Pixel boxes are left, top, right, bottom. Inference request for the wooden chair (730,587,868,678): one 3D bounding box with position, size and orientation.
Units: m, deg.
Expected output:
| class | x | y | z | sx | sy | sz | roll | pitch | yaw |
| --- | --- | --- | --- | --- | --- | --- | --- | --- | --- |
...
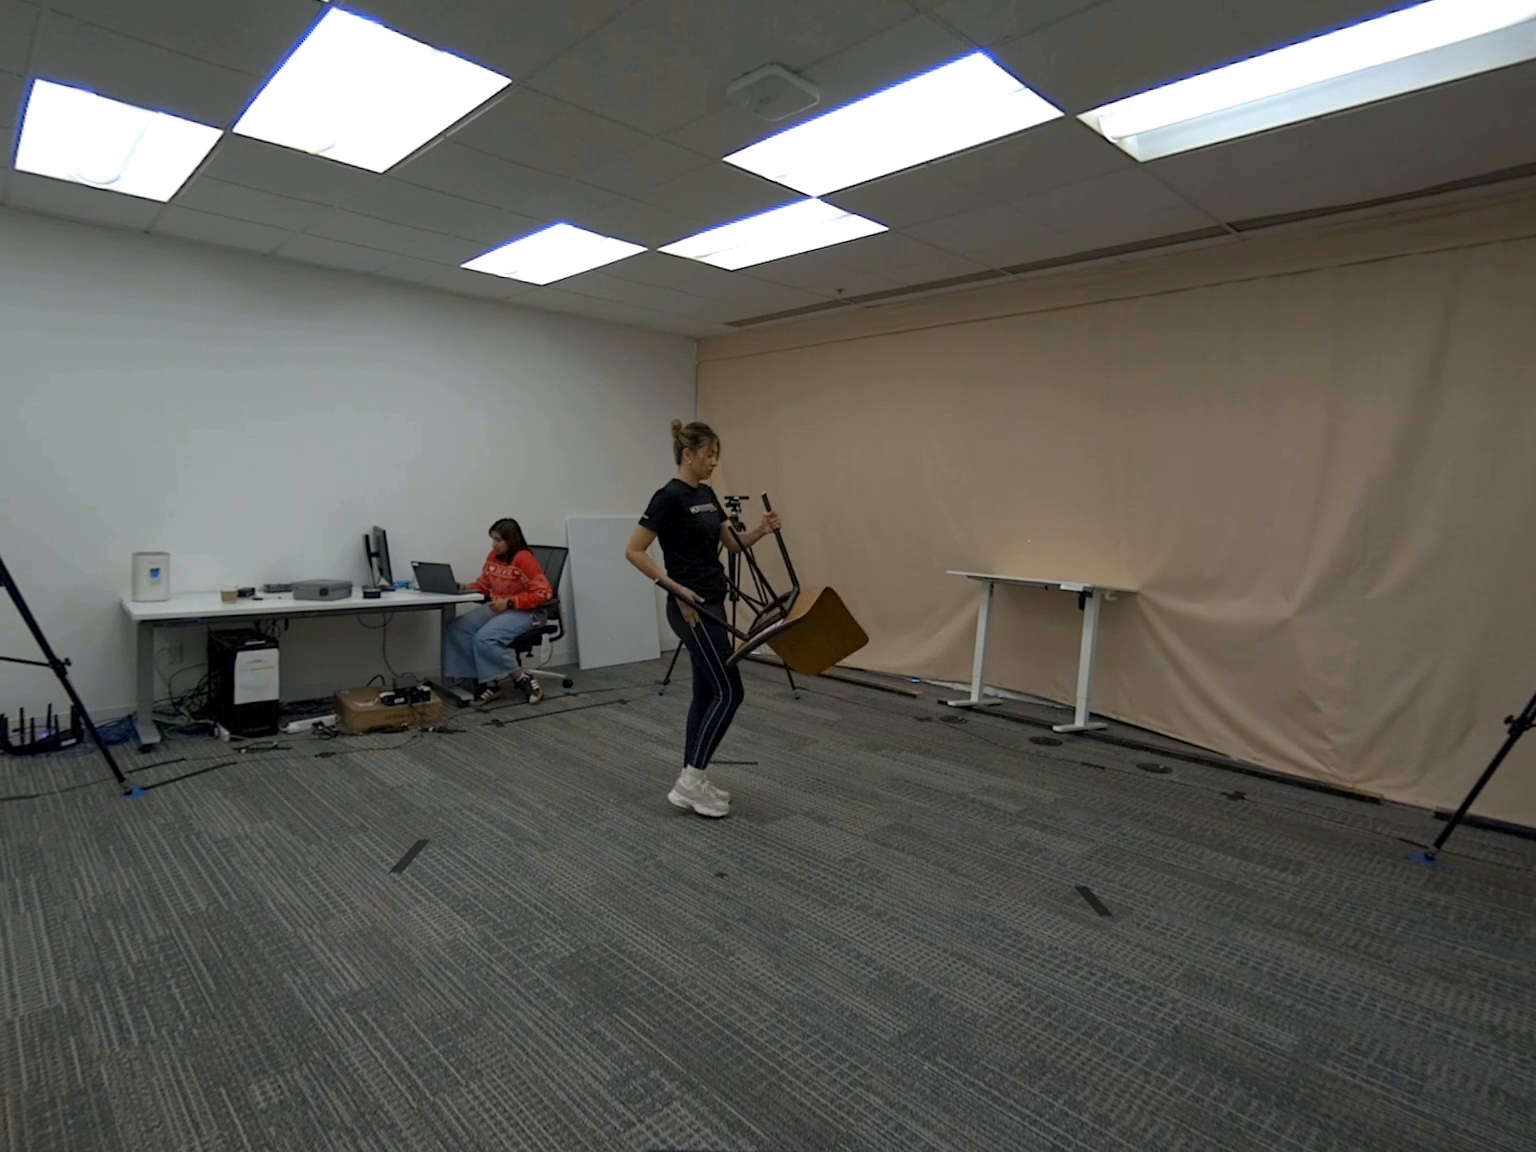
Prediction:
| class | x | y | z | sx | sy | sz | roll | pitch | yaw |
| --- | --- | --- | --- | --- | --- | --- | --- | --- | --- |
| wooden chair | 0.006 | 0.167 | 3.648 | 0.480 | 0.870 | 0.525 | -36 | 9 | 28 |
